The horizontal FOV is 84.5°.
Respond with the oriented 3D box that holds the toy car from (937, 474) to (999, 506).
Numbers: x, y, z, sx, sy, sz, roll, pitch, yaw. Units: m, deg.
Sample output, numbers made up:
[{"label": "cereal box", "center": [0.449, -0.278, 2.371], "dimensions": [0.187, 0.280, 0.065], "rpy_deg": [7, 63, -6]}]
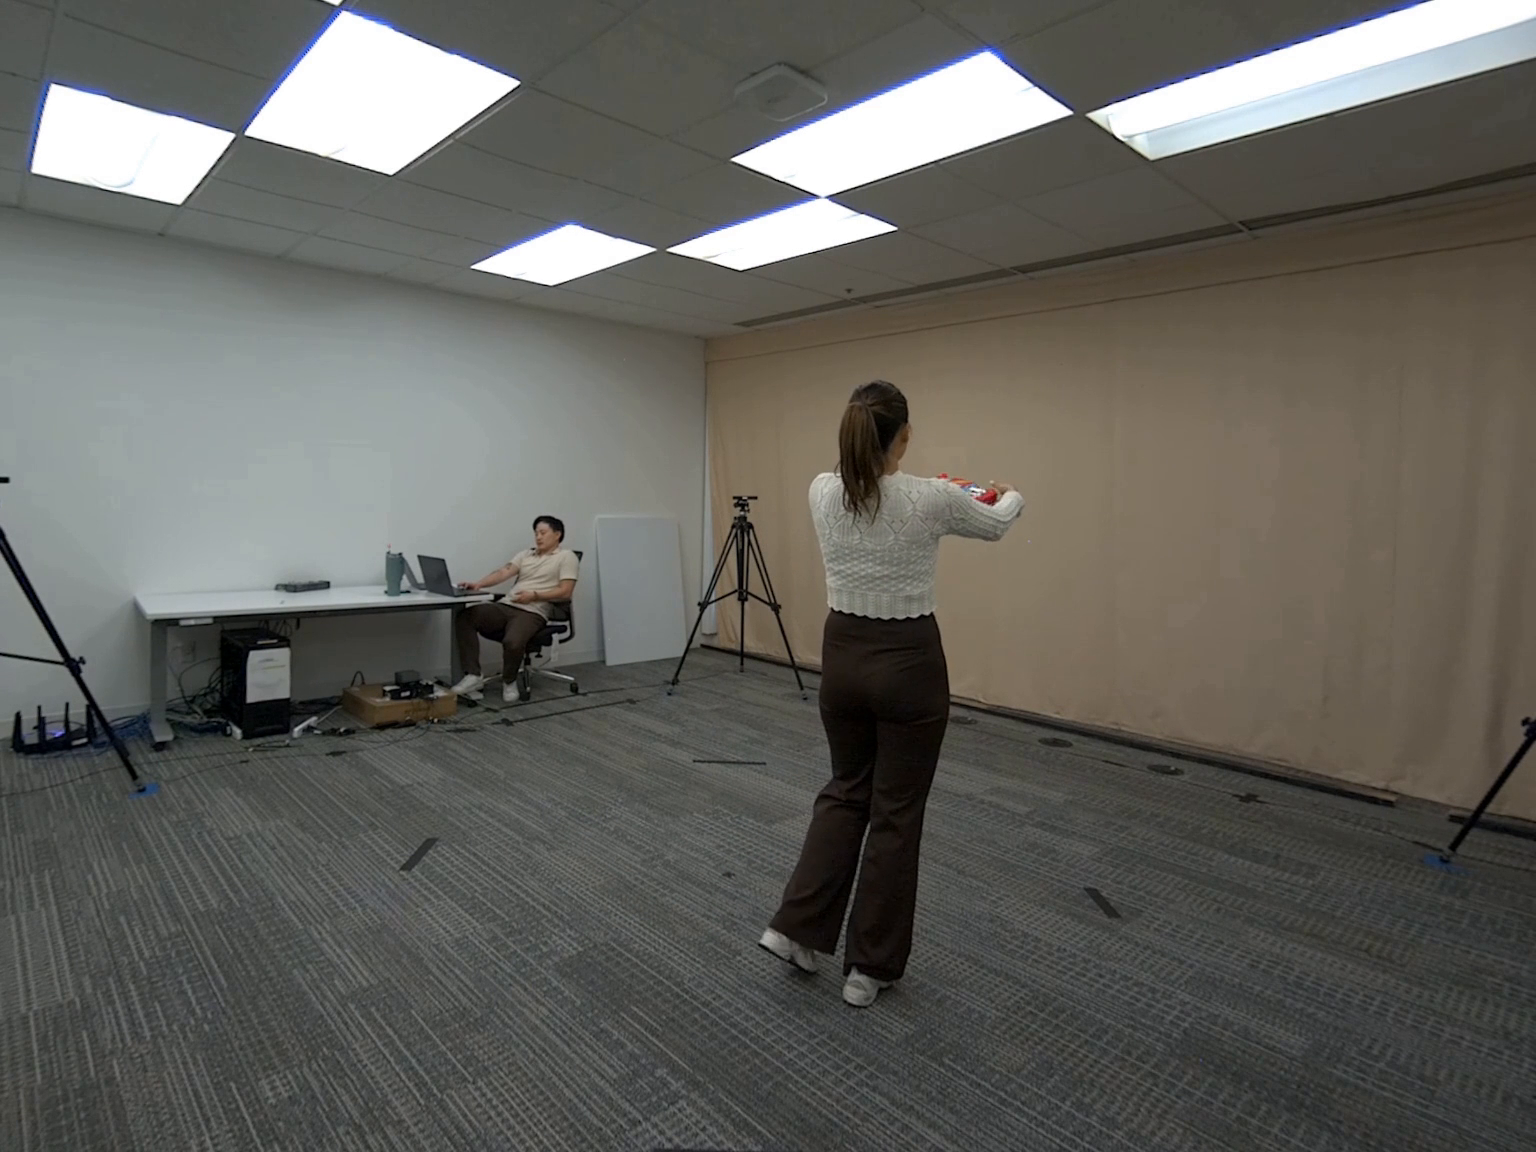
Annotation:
[{"label": "toy car", "center": [0.604, -0.274, 2.769], "dimensions": [0.128, 0.081, 0.263], "rpy_deg": [-22, 38, -33]}]
